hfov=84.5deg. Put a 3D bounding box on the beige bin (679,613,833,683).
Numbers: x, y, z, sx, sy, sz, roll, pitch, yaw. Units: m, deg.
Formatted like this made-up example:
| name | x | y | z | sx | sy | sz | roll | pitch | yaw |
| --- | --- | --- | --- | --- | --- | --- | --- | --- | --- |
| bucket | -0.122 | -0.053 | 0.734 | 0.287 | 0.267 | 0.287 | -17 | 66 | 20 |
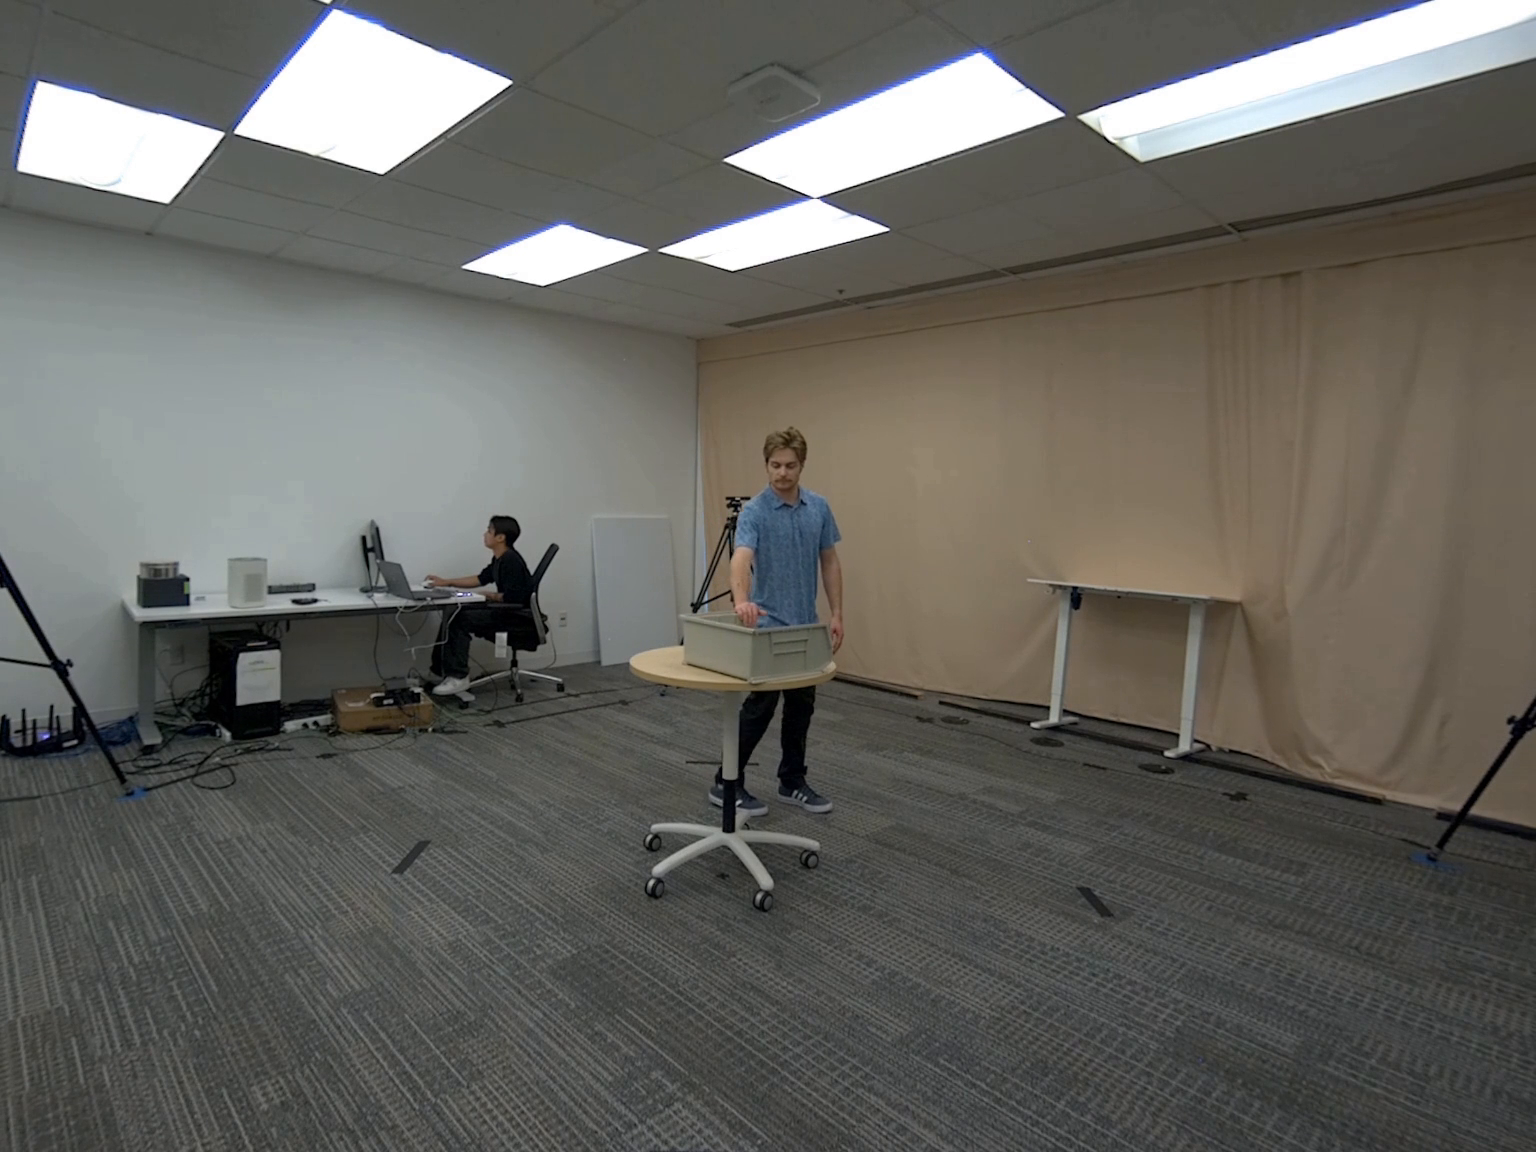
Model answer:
| name | x | y | z | sx | sy | sz | roll | pitch | yaw |
| --- | --- | --- | --- | --- | --- | --- | --- | --- | --- |
| beige bin | -0.058 | 0.243 | 3.004 | 0.369 | 0.188 | 0.433 | -3 | 6 | -39 |
